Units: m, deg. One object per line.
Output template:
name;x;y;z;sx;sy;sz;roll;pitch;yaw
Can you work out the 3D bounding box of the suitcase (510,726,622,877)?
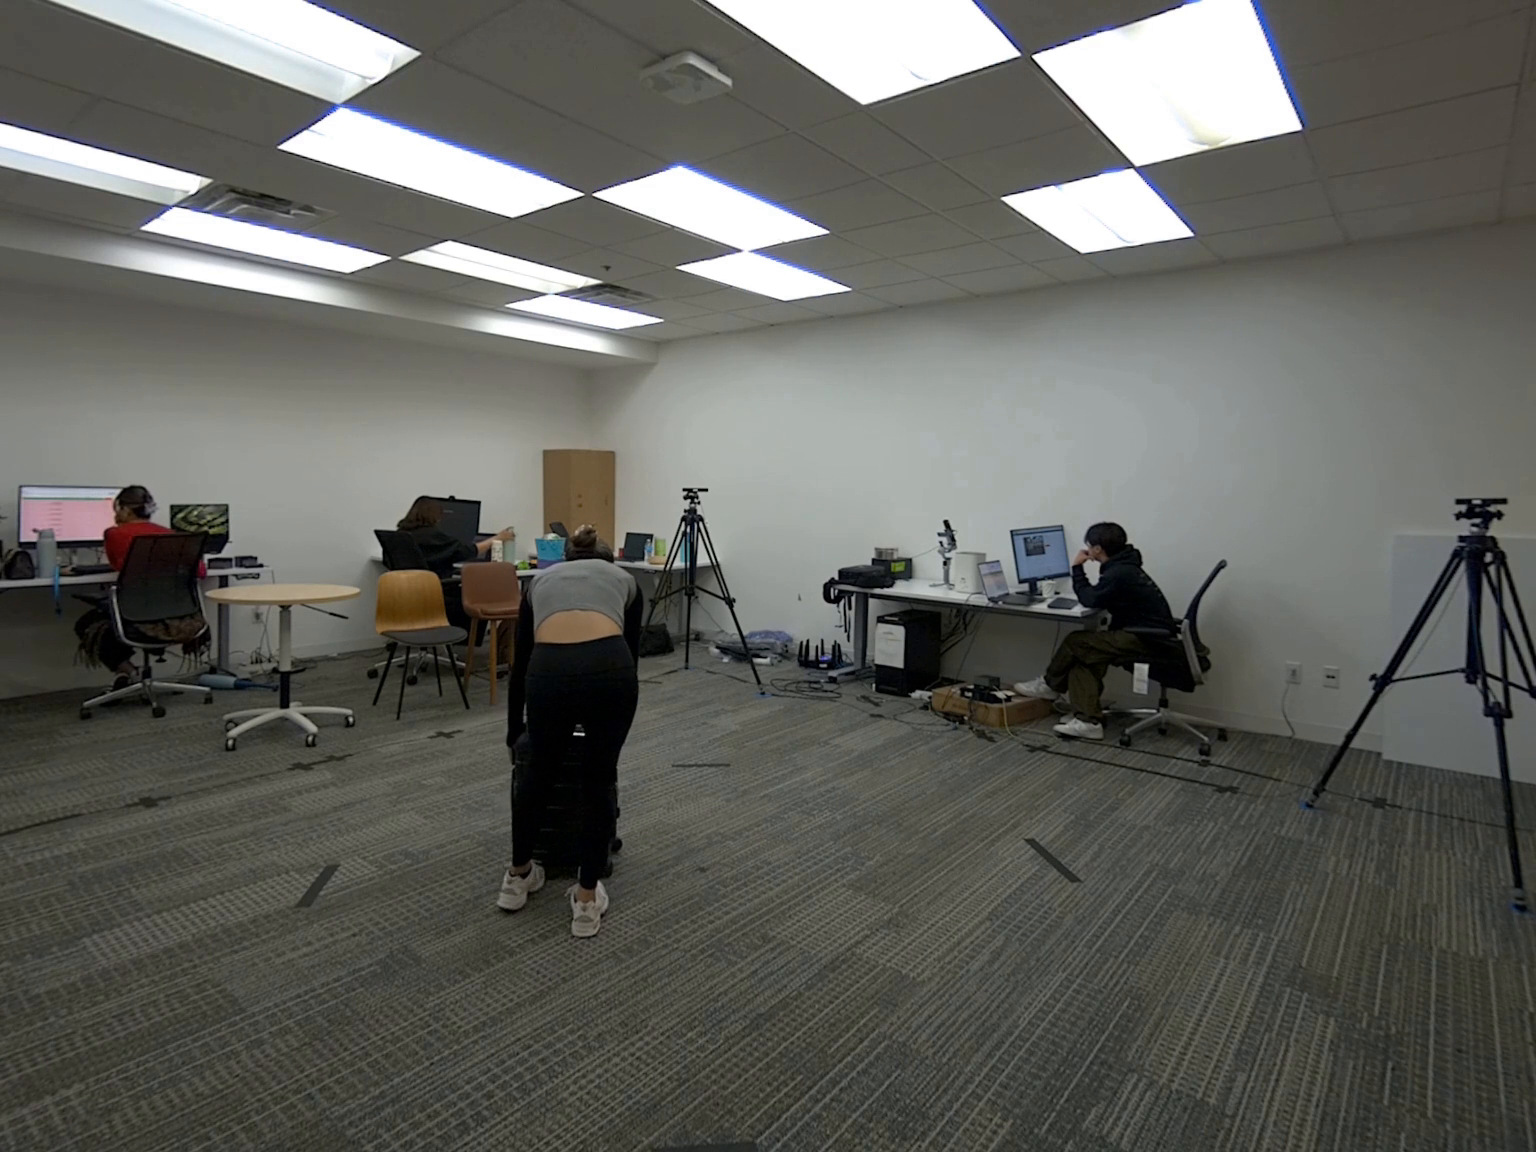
suitcase;-0.744;0.785;3.090;0.374;0.547;0.250;0;5;-3
